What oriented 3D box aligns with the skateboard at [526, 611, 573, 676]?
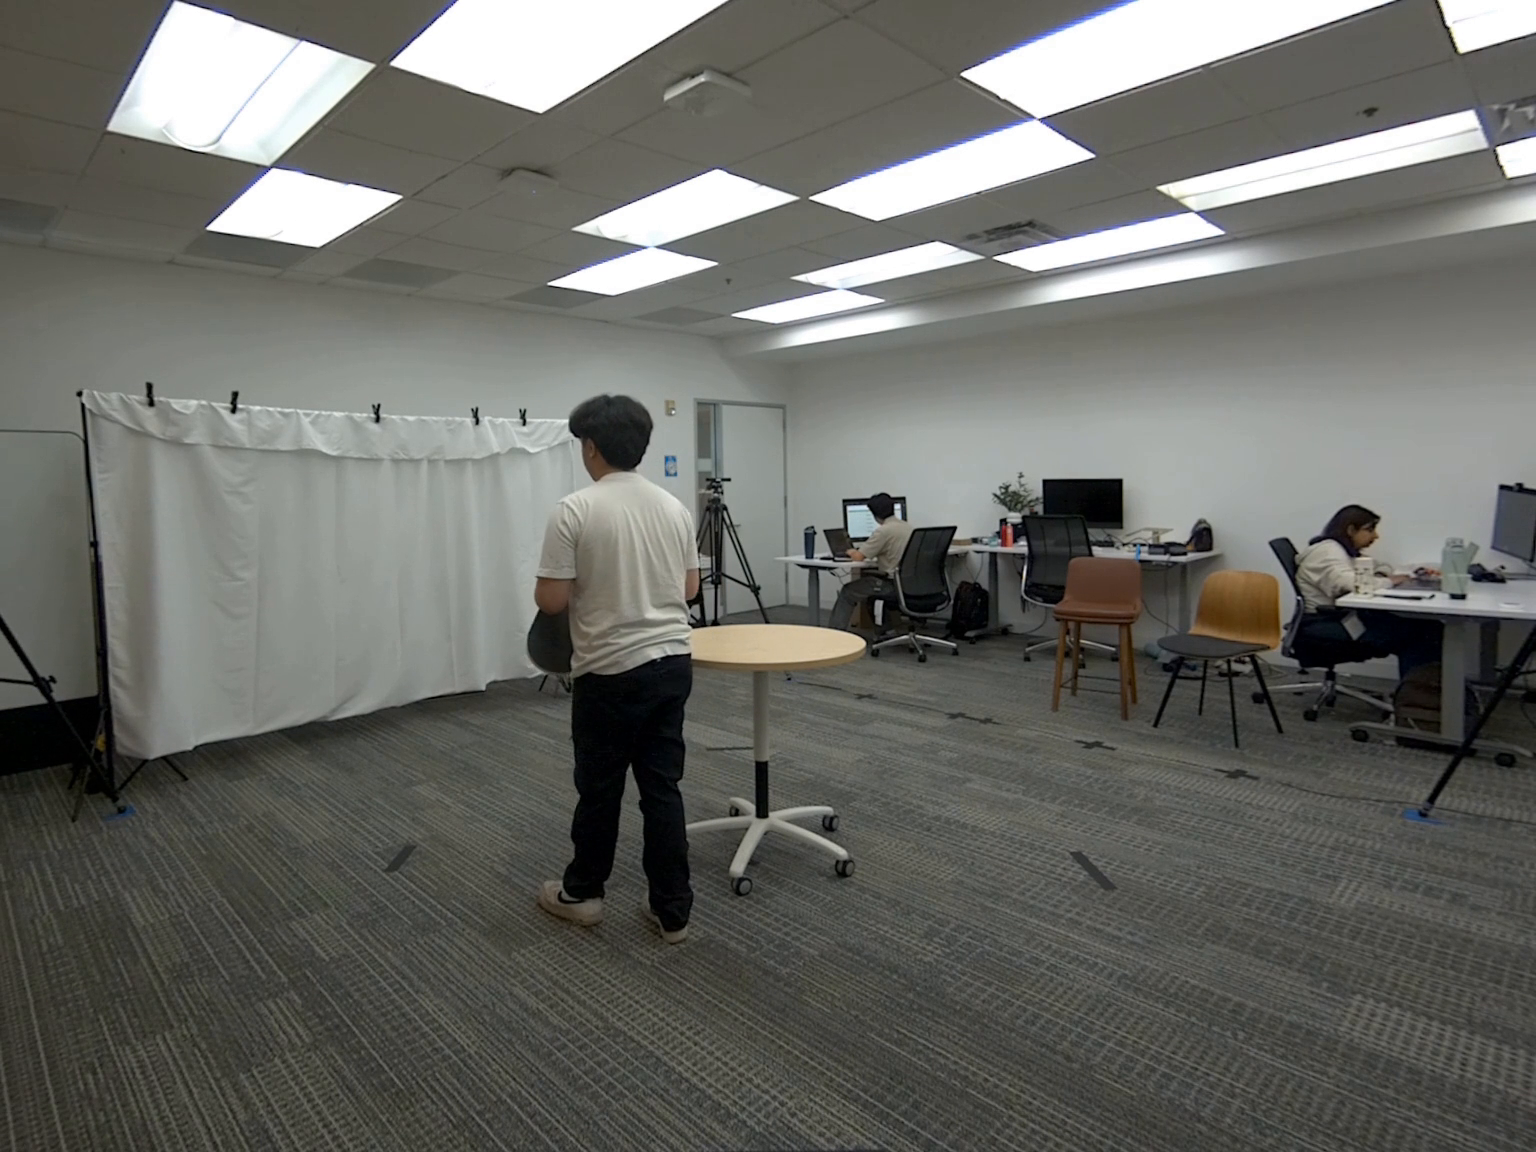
[{"bbox_3d":[-0.634,0.037,2.904,0.190,0.801,0.110,25,-46,-14],"label":"skateboard"}]
